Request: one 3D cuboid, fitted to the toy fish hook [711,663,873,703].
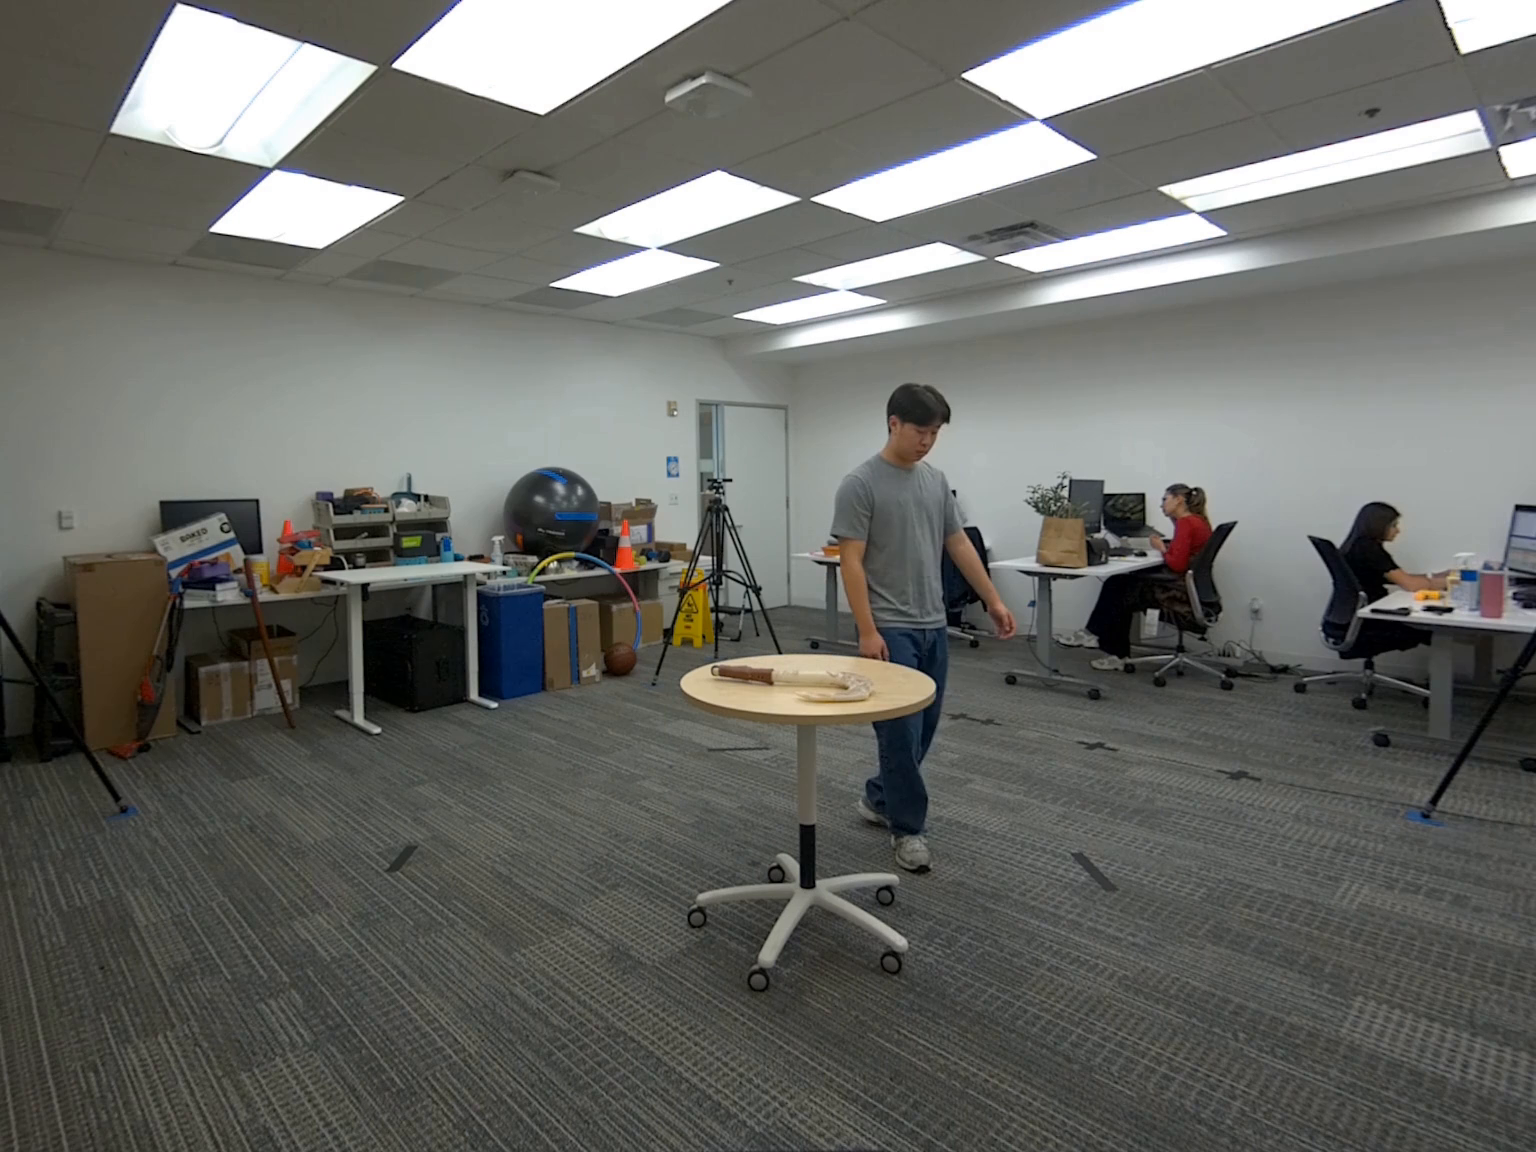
[{"bbox_3d":[0.061,0.315,2.479,0.517,0.048,0.221,2,7,21],"label":"toy fish hook"}]
